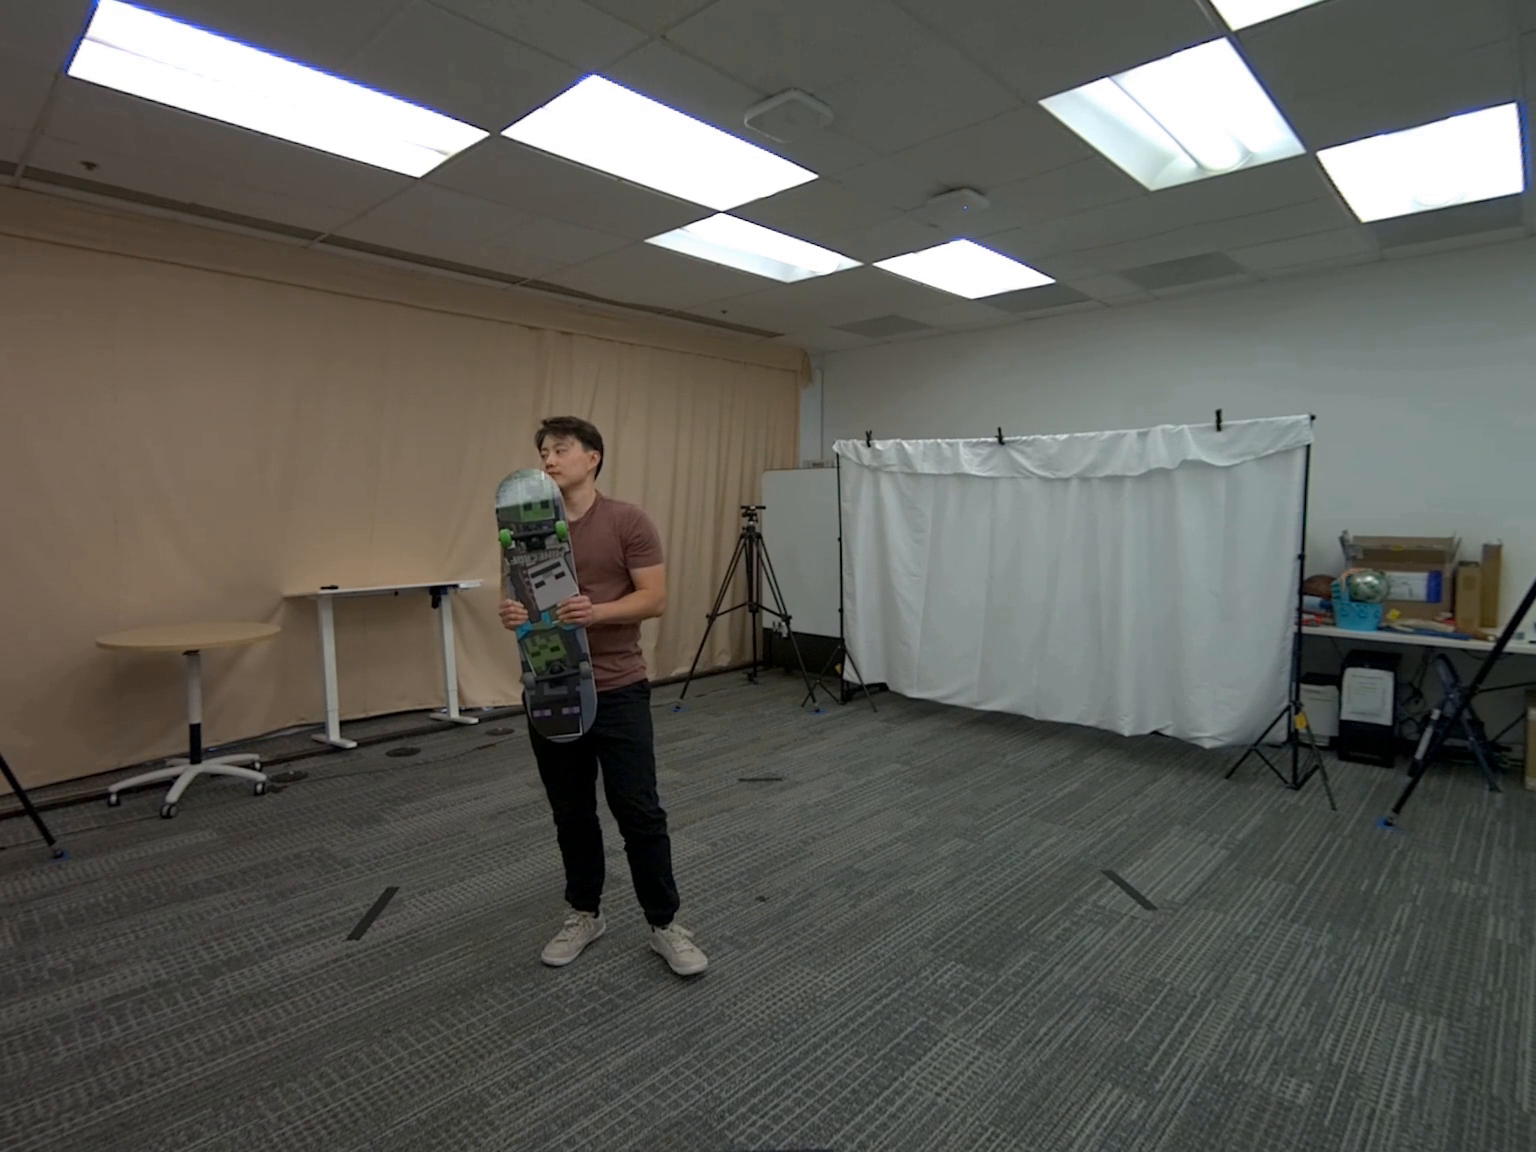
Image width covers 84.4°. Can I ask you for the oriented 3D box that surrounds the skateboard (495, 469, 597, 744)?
[{"bbox_3d":[-0.619,0.082,2.359,0.191,0.786,0.111,-11,0,-12],"label":"skateboard"}]
